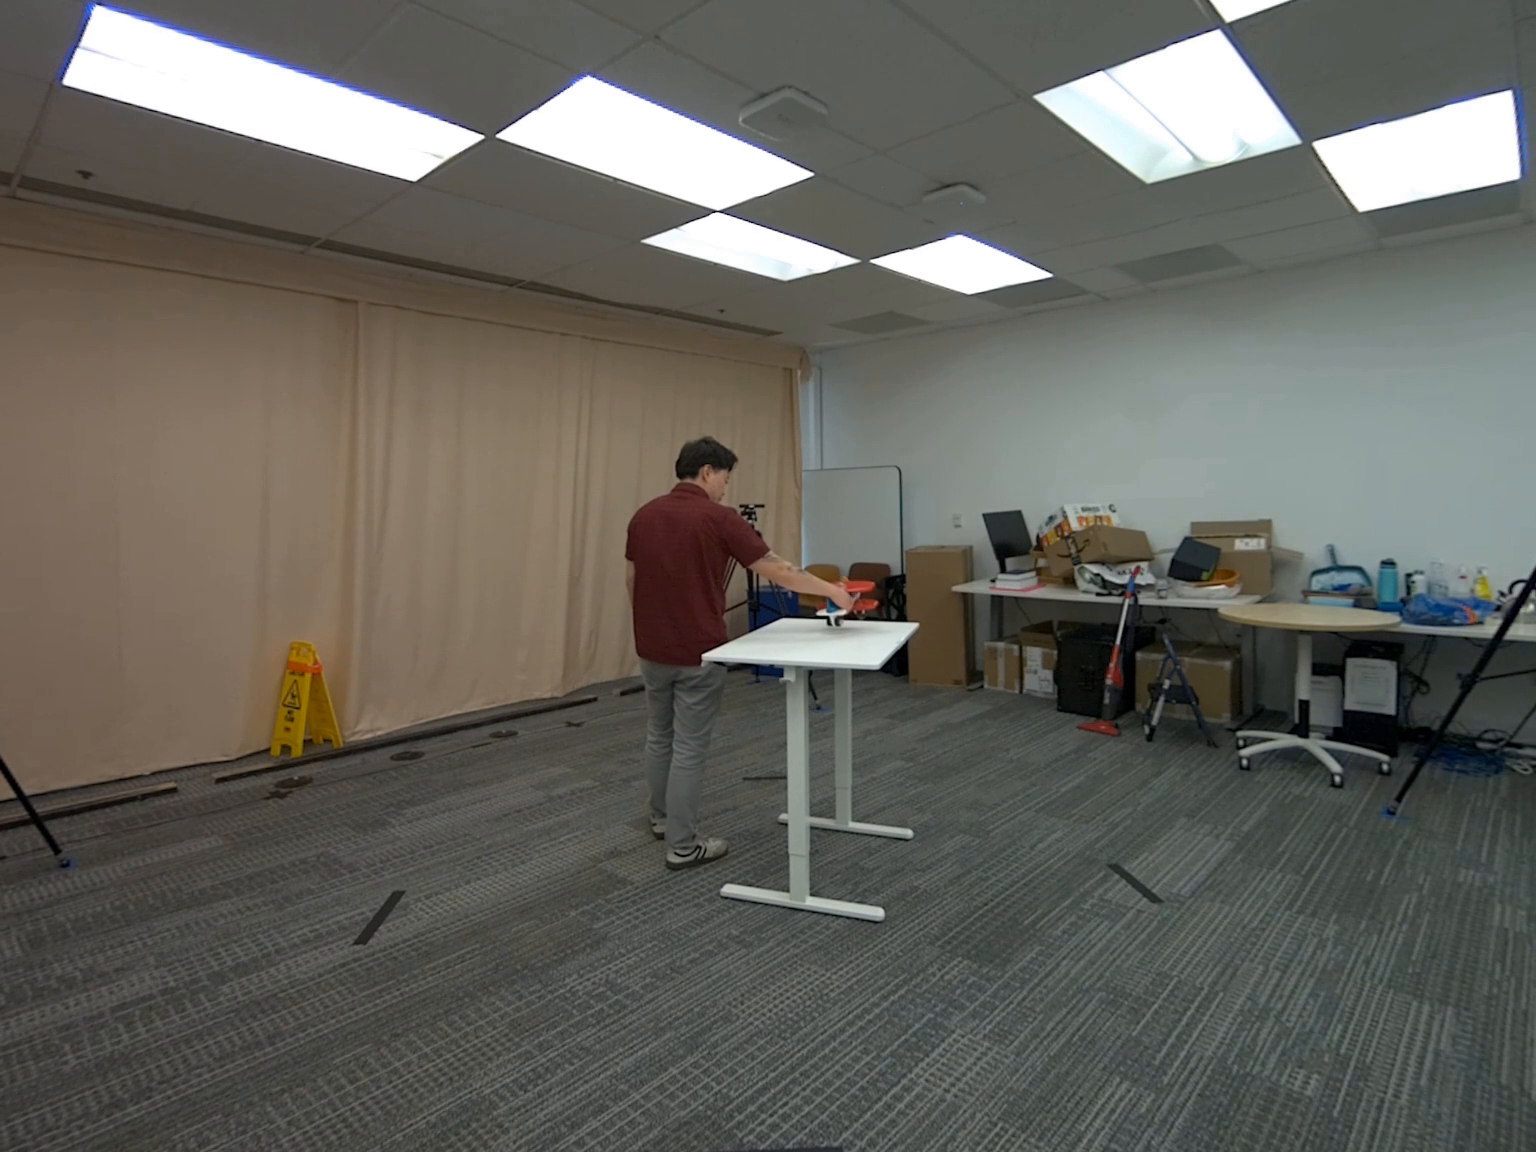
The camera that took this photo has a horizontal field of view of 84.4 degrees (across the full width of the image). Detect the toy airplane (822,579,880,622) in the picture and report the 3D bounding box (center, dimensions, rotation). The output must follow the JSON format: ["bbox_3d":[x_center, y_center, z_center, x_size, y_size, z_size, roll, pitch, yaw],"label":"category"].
[{"bbox_3d":[0.320,0.109,3.344,0.252,0.156,0.259,-5,5,2],"label":"toy airplane"}]
